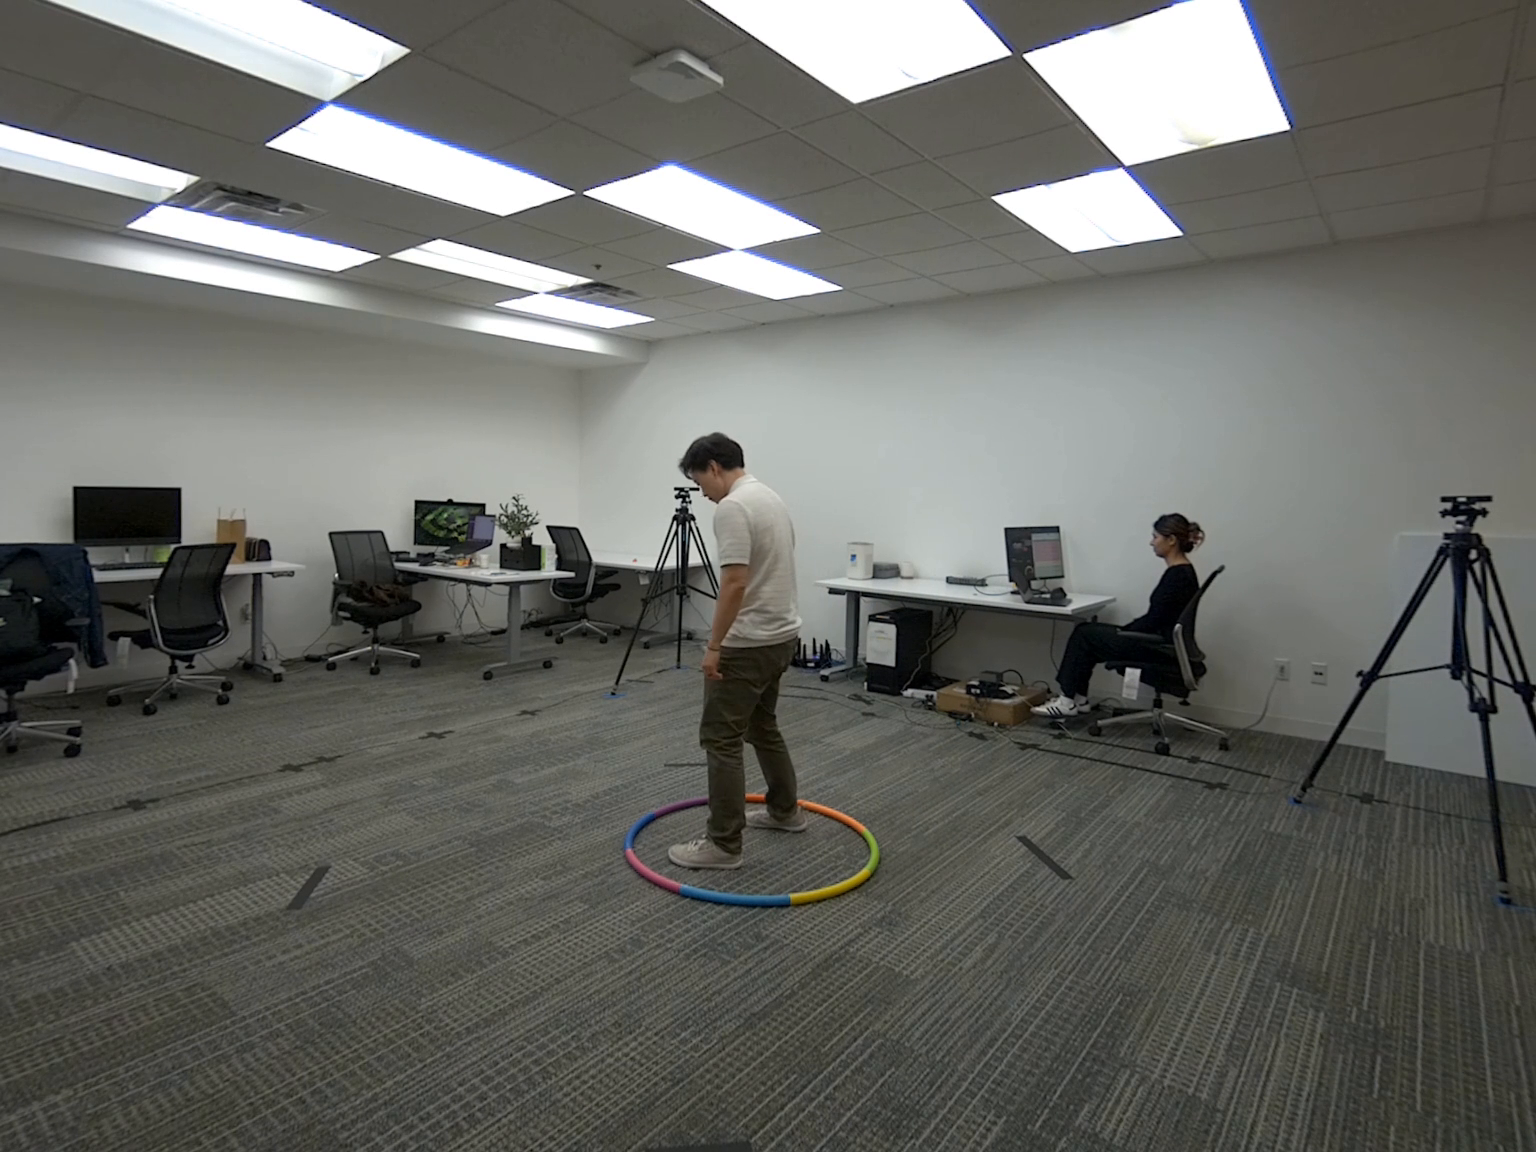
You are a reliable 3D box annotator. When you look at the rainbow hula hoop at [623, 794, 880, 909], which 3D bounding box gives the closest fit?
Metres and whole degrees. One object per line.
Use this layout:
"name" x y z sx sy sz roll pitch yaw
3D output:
"rainbow hula hoop" -0.076 1.021 3.309 0.978 0.035 0.984 1 6 -2
